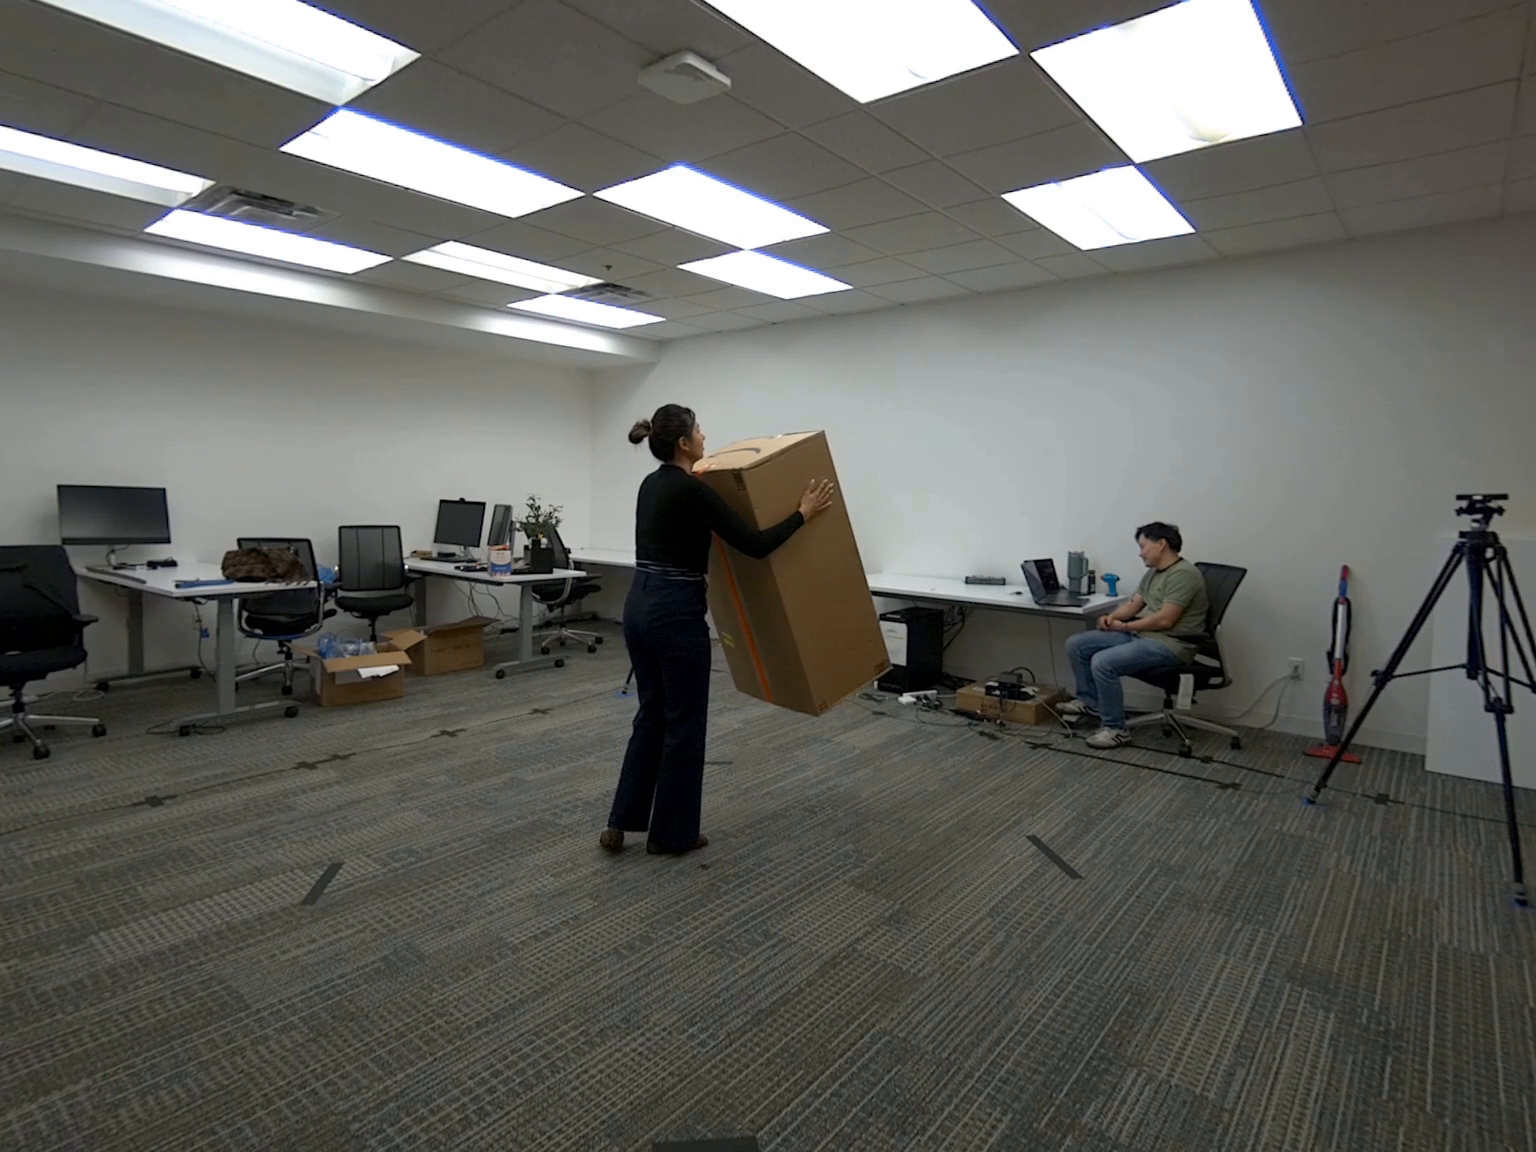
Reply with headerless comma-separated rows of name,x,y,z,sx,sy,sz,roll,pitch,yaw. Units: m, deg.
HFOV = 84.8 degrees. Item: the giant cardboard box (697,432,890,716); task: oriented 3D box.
giant cardboard box,0.029,-0.026,3.497,0.420,1.009,0.595,-26,16,-31
